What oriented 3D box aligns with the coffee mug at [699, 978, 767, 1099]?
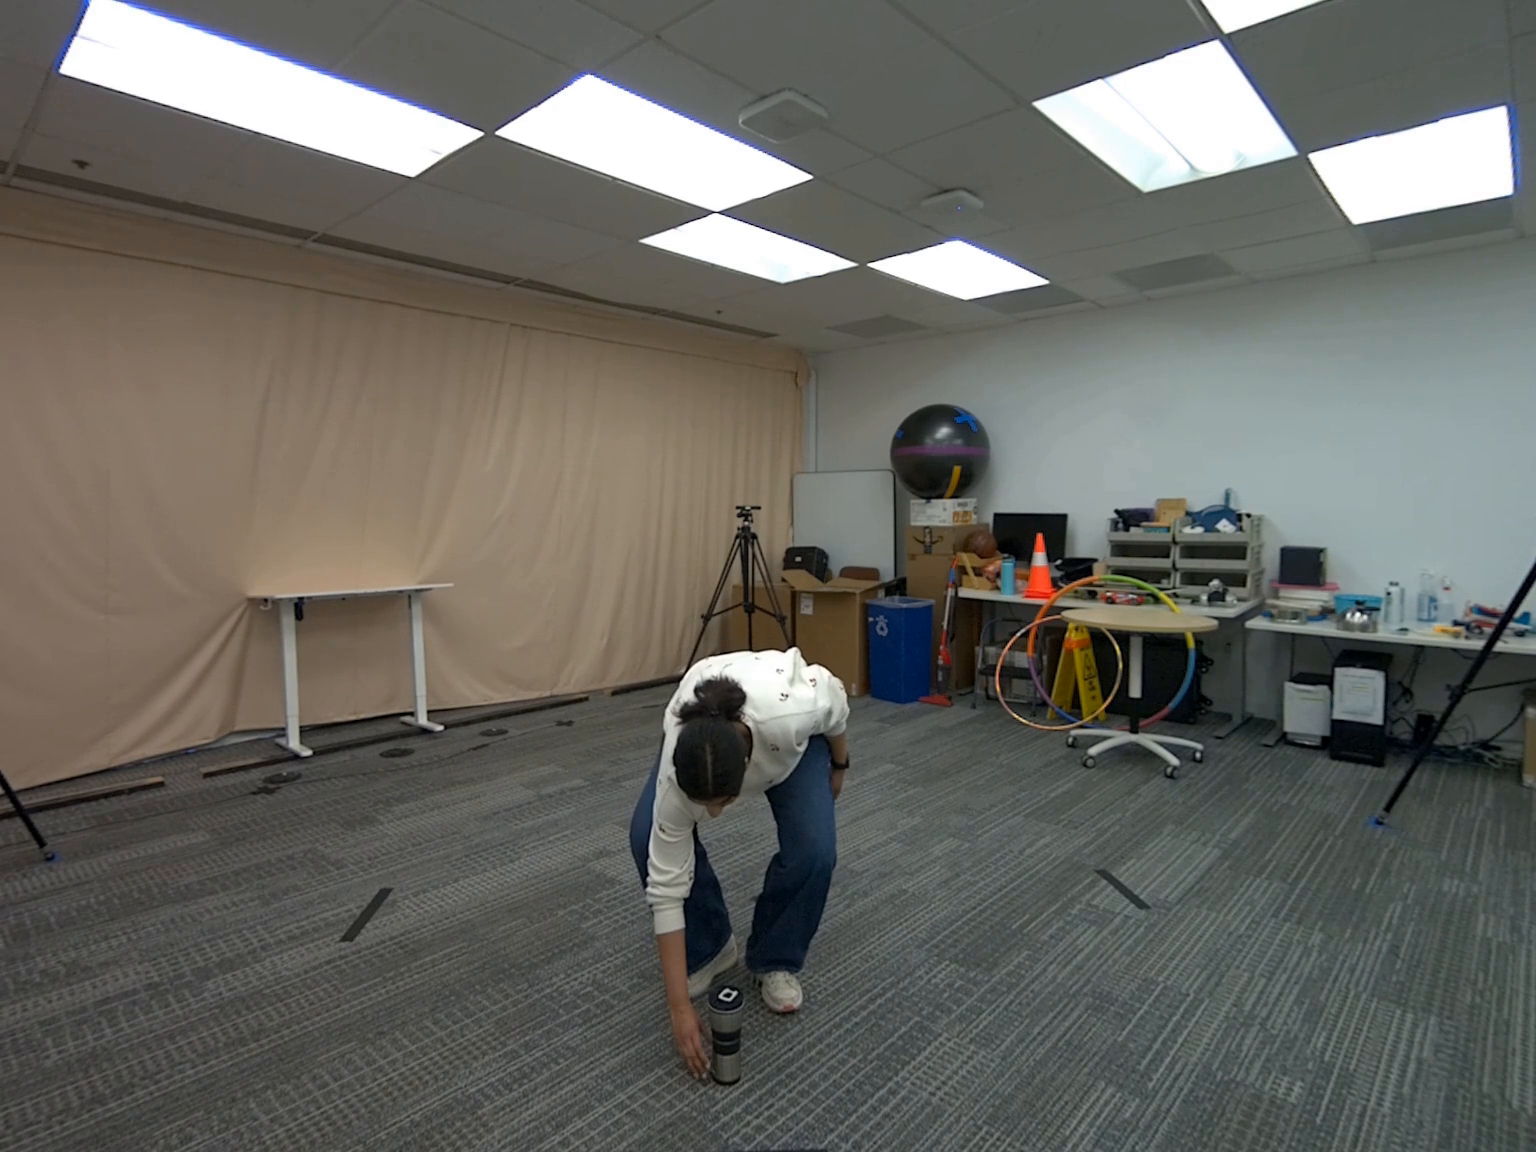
[{"bbox_3d":[-0.085,1.119,2.062,0.090,0.202,0.118,-4,3,37],"label":"coffee mug"}]
